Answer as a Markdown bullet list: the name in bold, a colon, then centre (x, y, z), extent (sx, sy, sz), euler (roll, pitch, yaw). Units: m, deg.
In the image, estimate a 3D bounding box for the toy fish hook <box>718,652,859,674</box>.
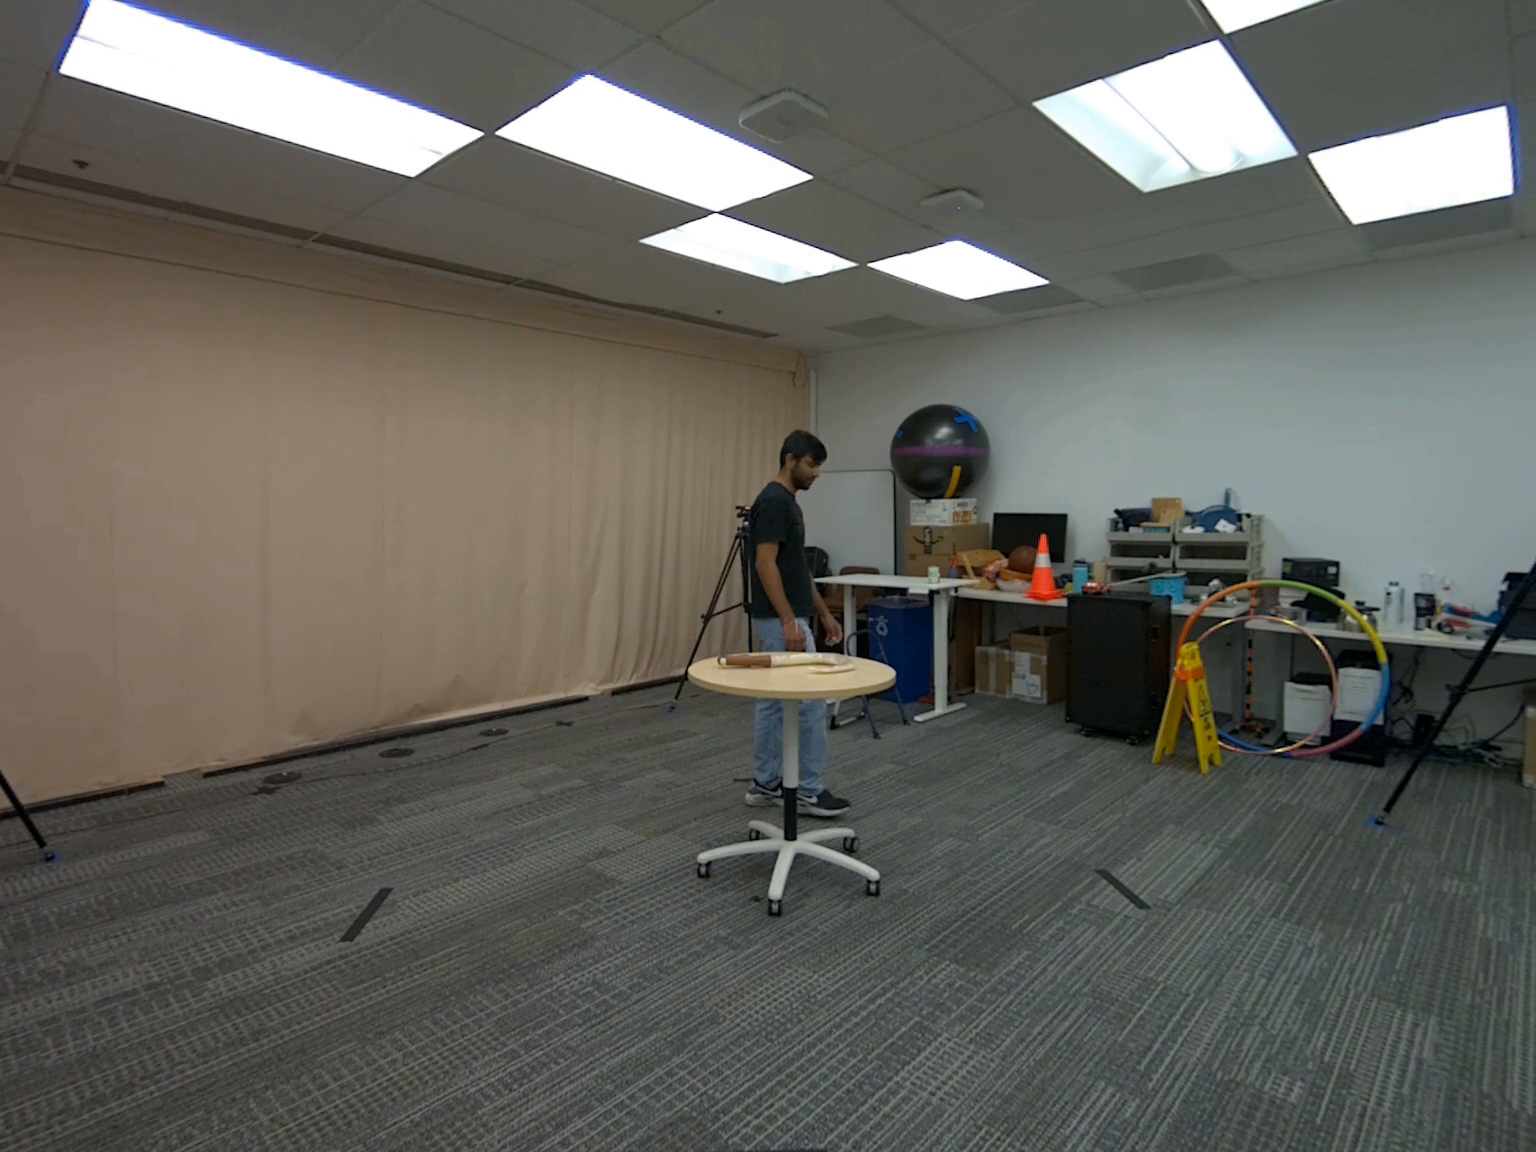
- **toy fish hook**: centre (0.067, 0.326, 3.141), extent (0.501, 0.048, 0.227), euler (0, 2, -9)
